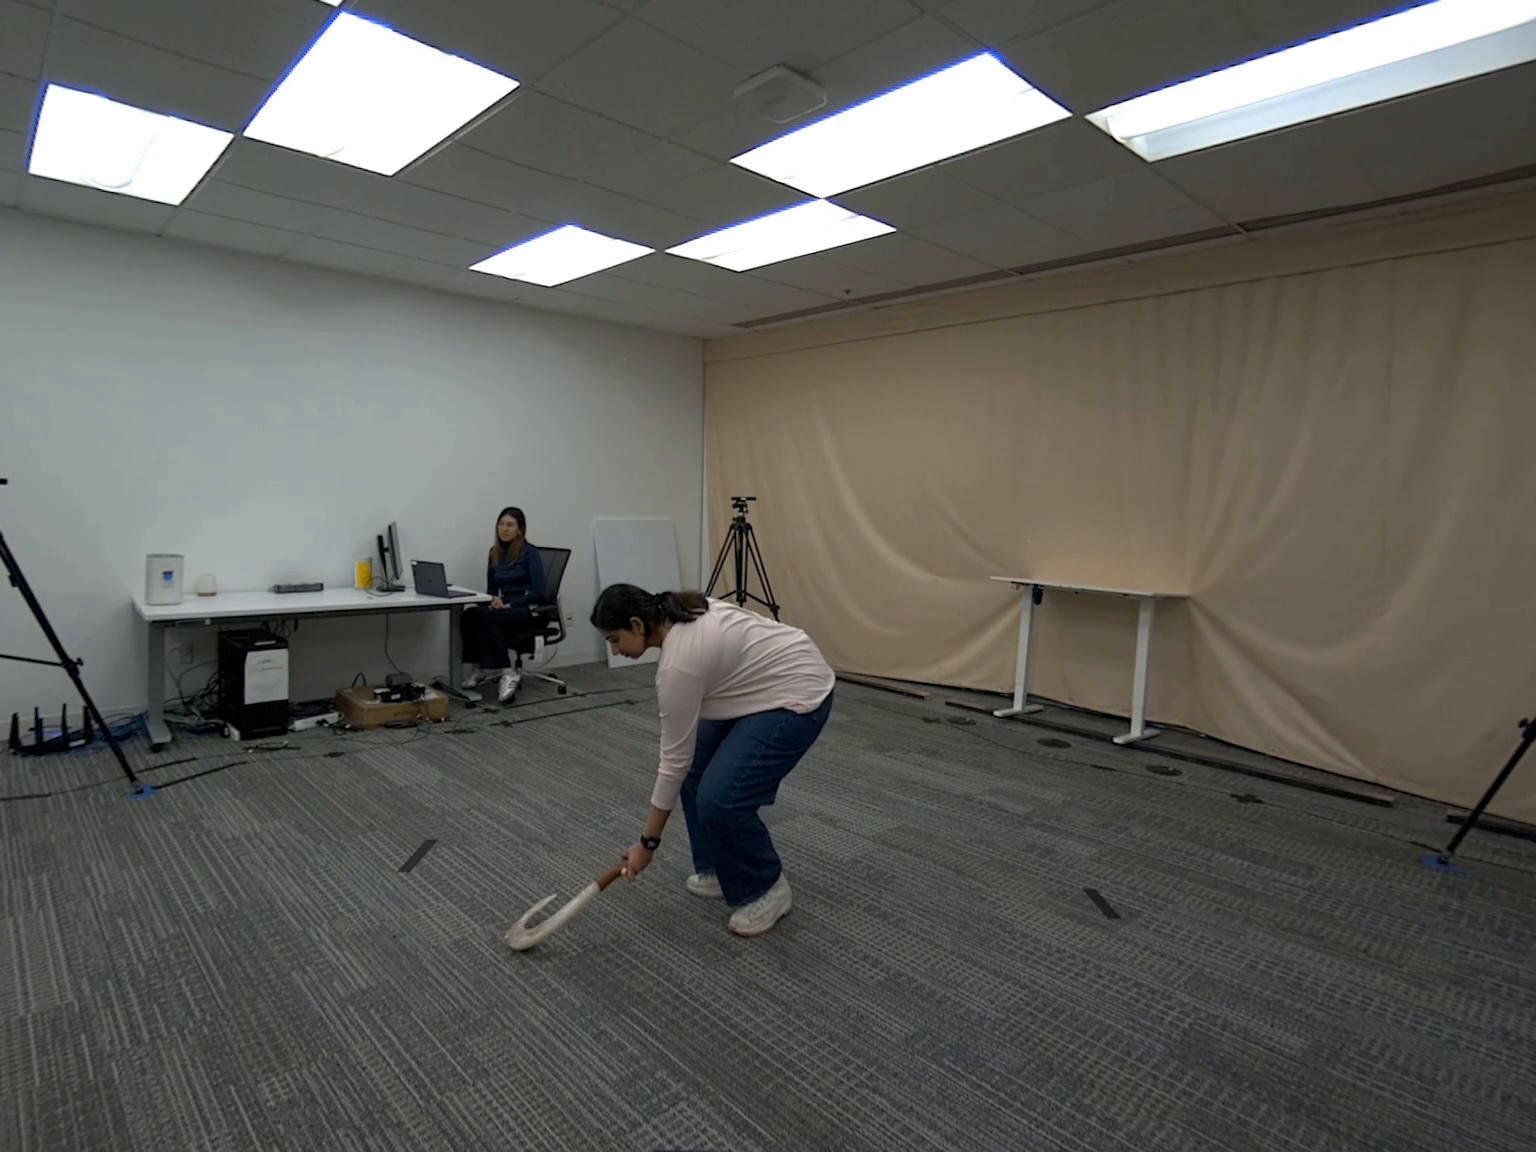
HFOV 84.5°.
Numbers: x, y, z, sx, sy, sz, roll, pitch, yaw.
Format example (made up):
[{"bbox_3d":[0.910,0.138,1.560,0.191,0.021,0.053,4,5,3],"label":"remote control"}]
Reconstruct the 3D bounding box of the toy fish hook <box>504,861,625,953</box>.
[{"bbox_3d":[-0.610,1.007,2.692,0.502,0.048,0.229,-29,15,-25],"label":"toy fish hook"}]
